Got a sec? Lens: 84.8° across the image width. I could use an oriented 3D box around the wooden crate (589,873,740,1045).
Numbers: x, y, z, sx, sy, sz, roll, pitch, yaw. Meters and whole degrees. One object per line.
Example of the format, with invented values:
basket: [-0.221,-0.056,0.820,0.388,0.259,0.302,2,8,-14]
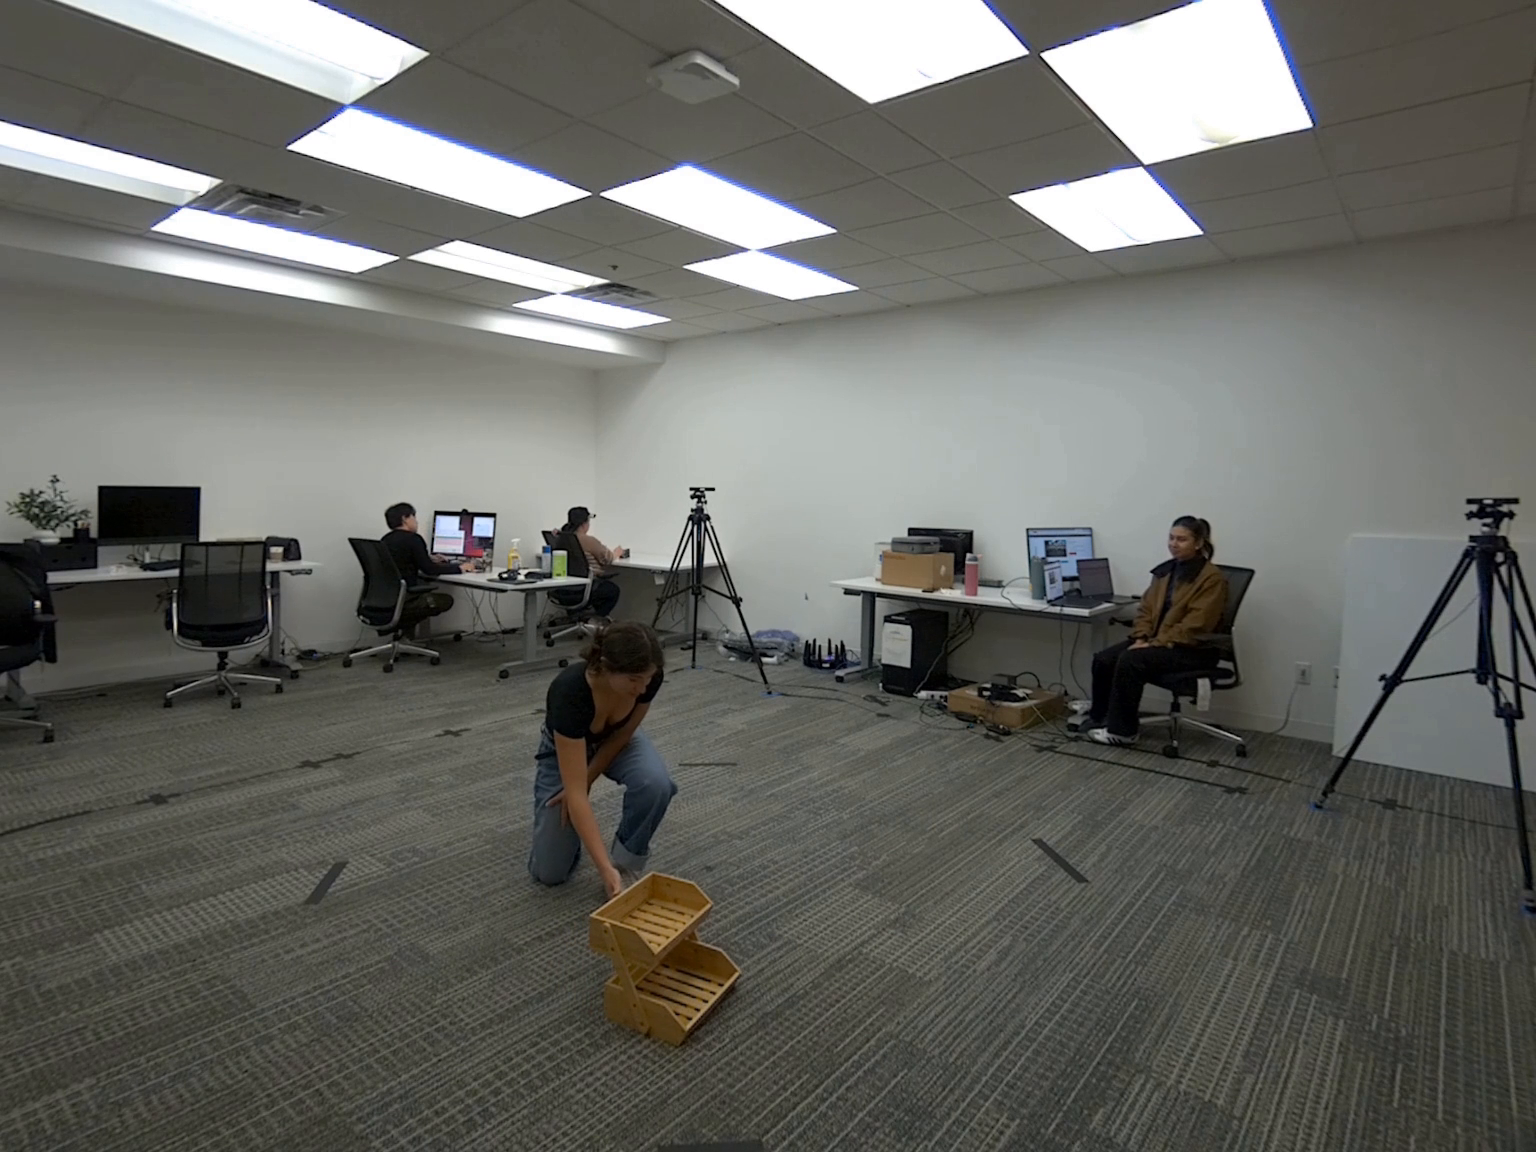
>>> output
wooden crate: [-0.277,1.011,2.301,0.310,0.272,0.317,3,4,27]
